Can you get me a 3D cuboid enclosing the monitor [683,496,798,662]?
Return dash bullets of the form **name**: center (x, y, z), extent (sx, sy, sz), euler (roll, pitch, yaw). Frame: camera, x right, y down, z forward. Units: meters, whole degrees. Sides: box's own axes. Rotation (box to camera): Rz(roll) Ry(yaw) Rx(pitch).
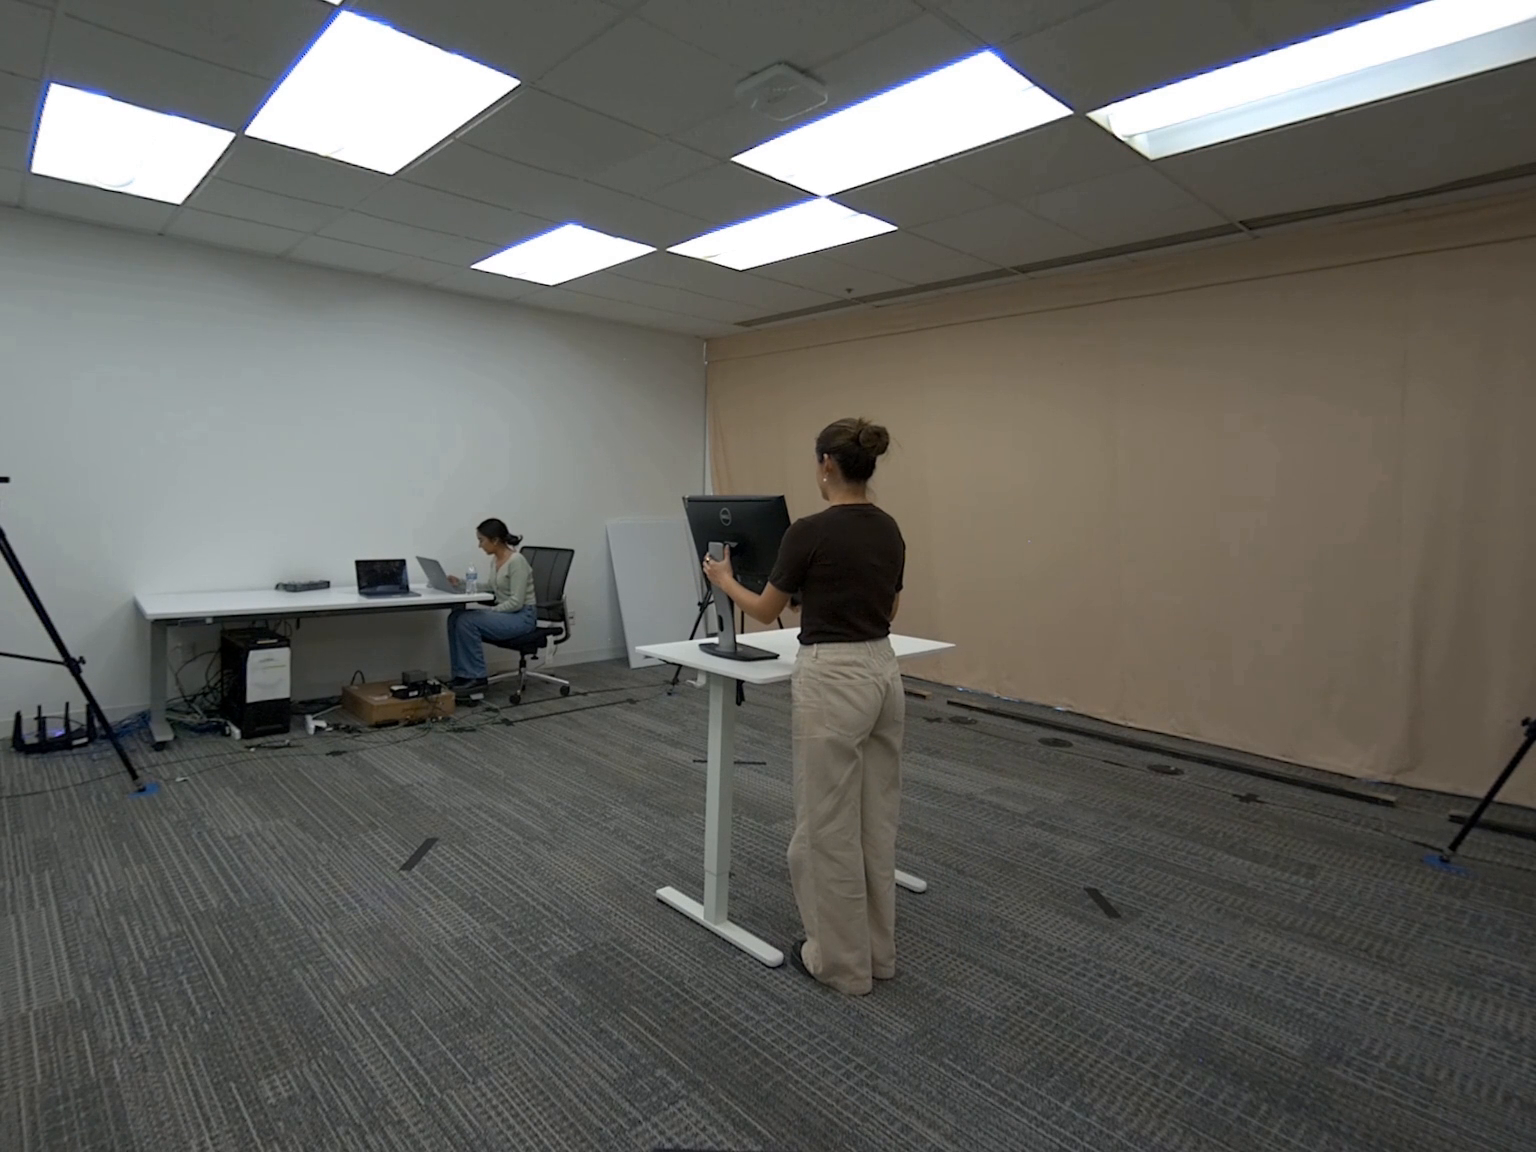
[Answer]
- **monitor**: center (-0.117, 0.002, 2.719), extent (0.183, 0.520, 0.552), euler (-6, 7, -36)
